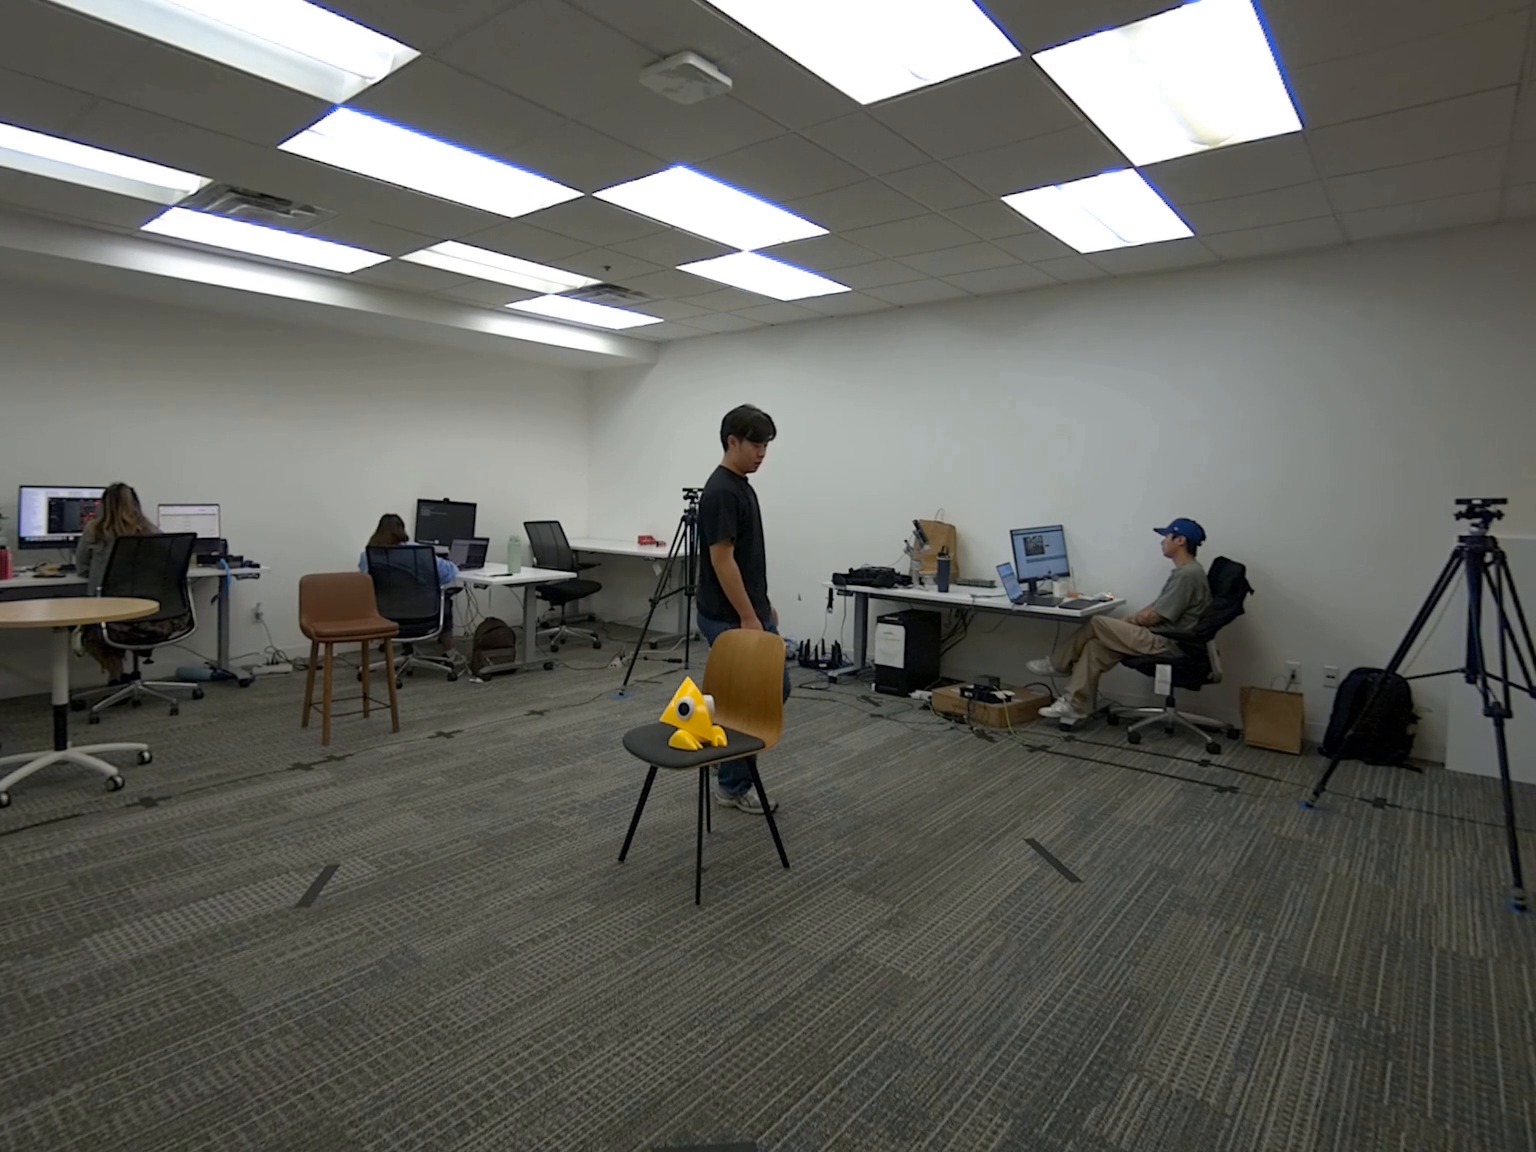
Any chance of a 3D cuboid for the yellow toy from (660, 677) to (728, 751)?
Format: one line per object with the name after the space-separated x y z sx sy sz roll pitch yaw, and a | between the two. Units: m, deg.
-0.264 0.482 3.042 0.198 0.231 0.199 2 -2 -37 | yellow toy
